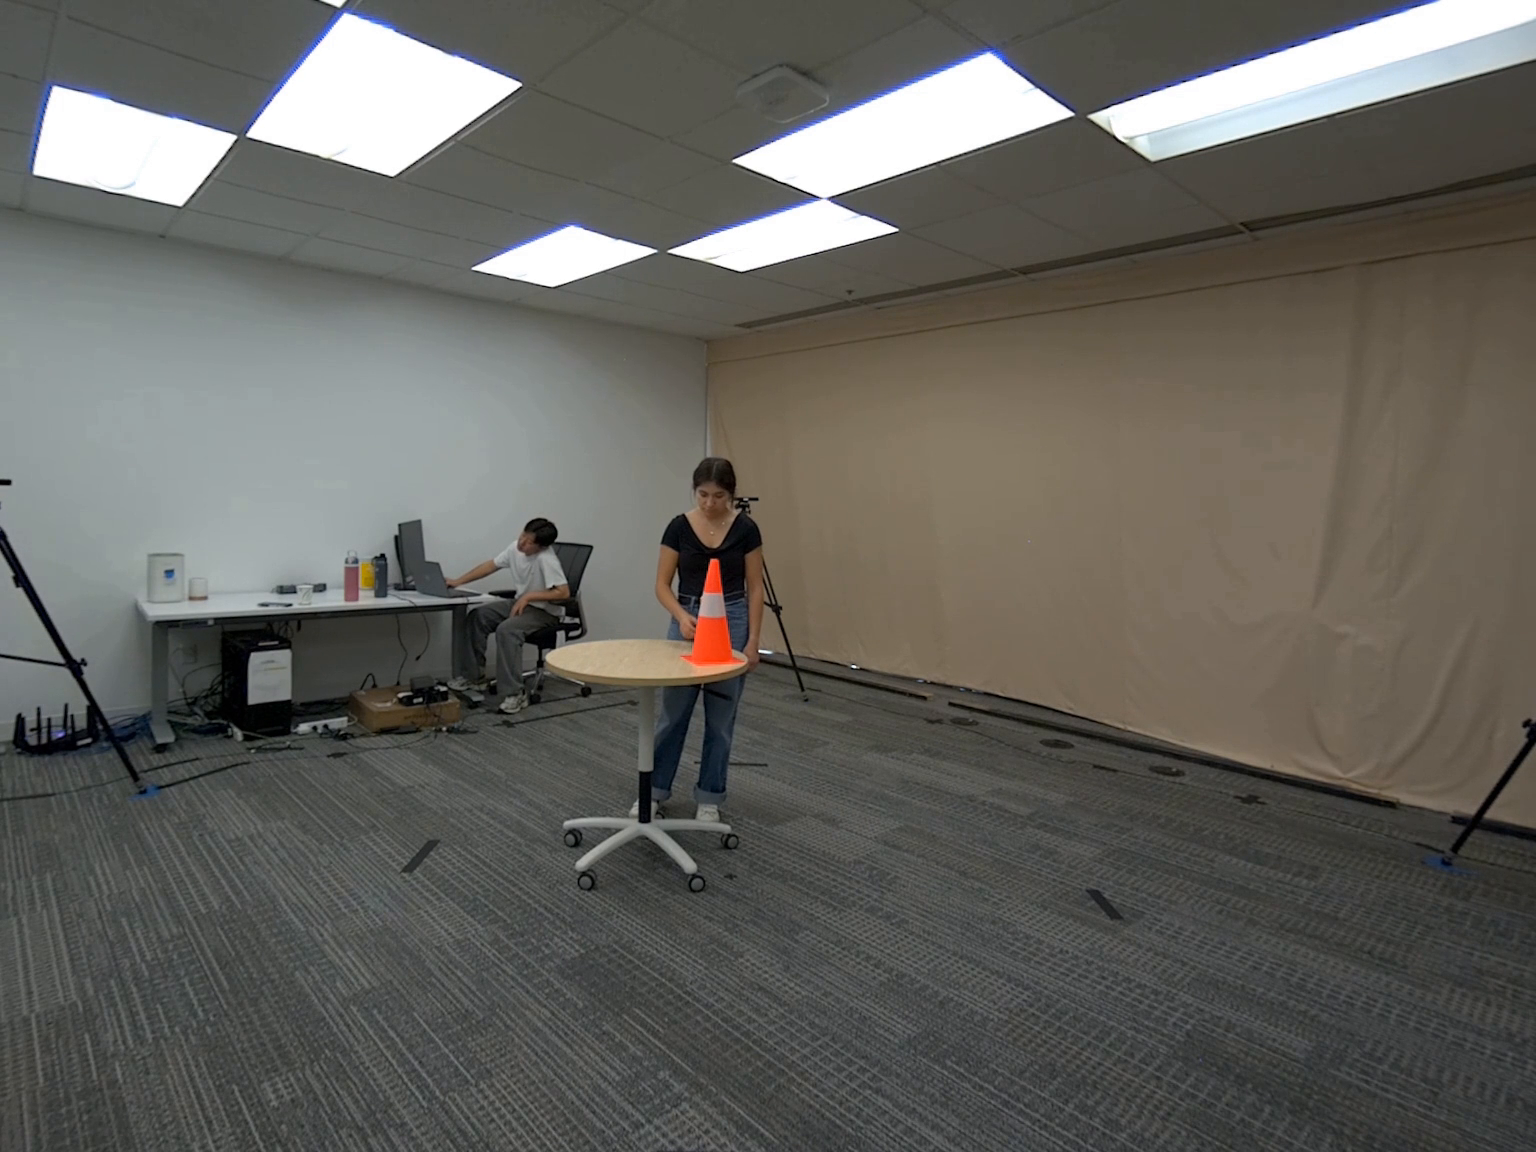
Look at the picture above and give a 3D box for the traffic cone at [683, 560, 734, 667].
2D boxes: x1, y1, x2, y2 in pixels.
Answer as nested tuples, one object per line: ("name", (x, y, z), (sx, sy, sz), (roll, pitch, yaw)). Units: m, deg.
("traffic cone", (-0.219, 0.136, 3.185), (0.200, 0.383, 0.208), (2, 1, -20))
